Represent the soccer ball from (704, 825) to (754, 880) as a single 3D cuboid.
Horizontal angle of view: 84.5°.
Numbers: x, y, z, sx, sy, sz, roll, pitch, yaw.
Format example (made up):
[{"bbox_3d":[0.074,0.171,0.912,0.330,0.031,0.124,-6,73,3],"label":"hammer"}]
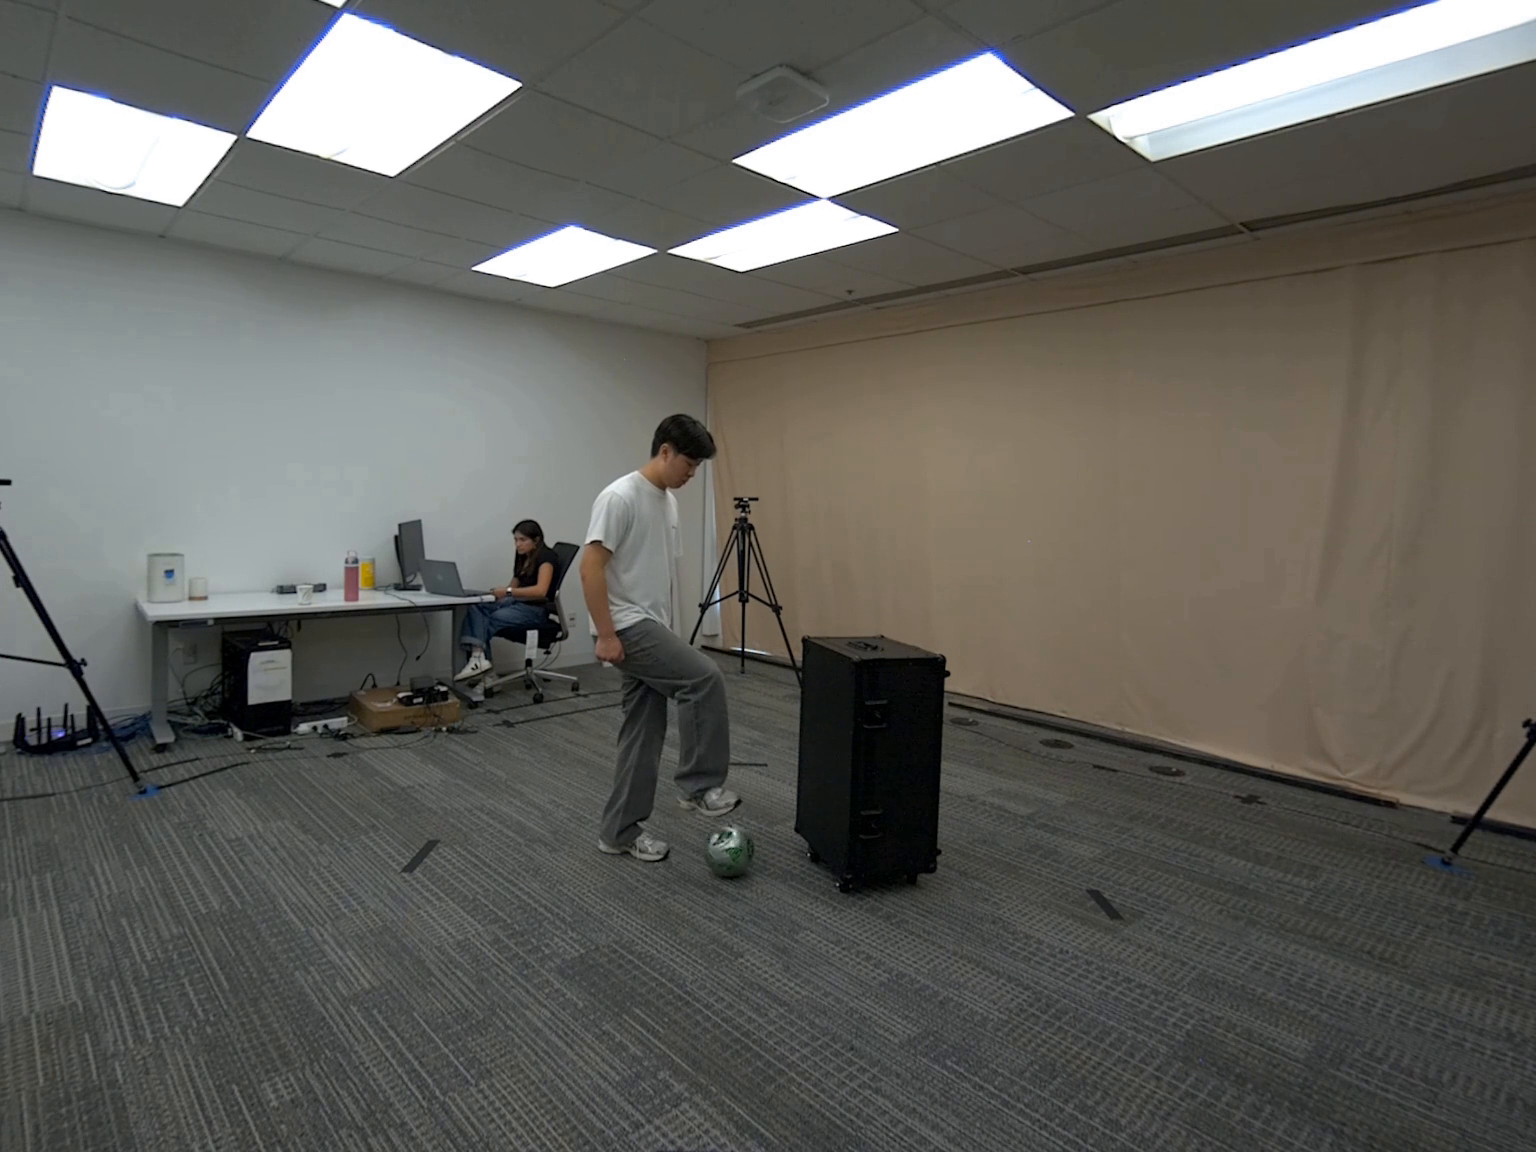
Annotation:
[{"bbox_3d":[-0.143,1.012,3.116,0.187,0.187,0.188,1,4,-1],"label":"soccer ball"}]
